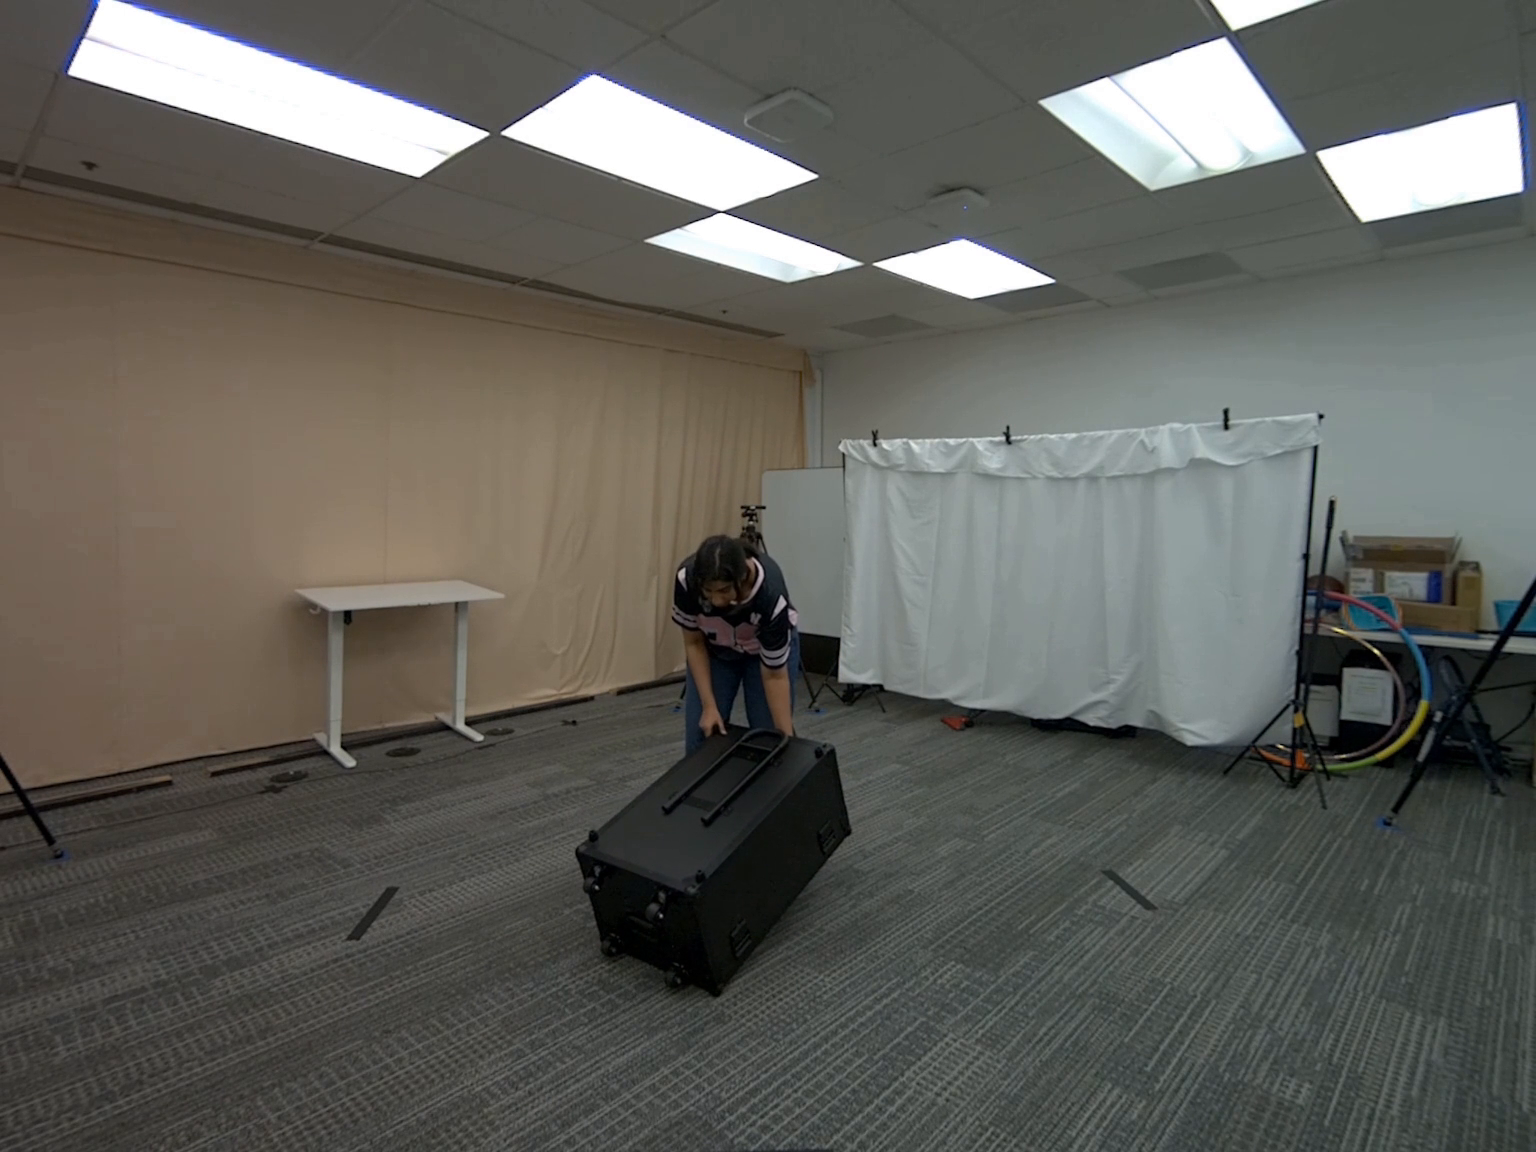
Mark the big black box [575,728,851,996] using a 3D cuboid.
[{"bbox_3d":[-0.165,0.885,2.727,0.541,0.379,0.853,5,25,38],"label":"big black box"}]
